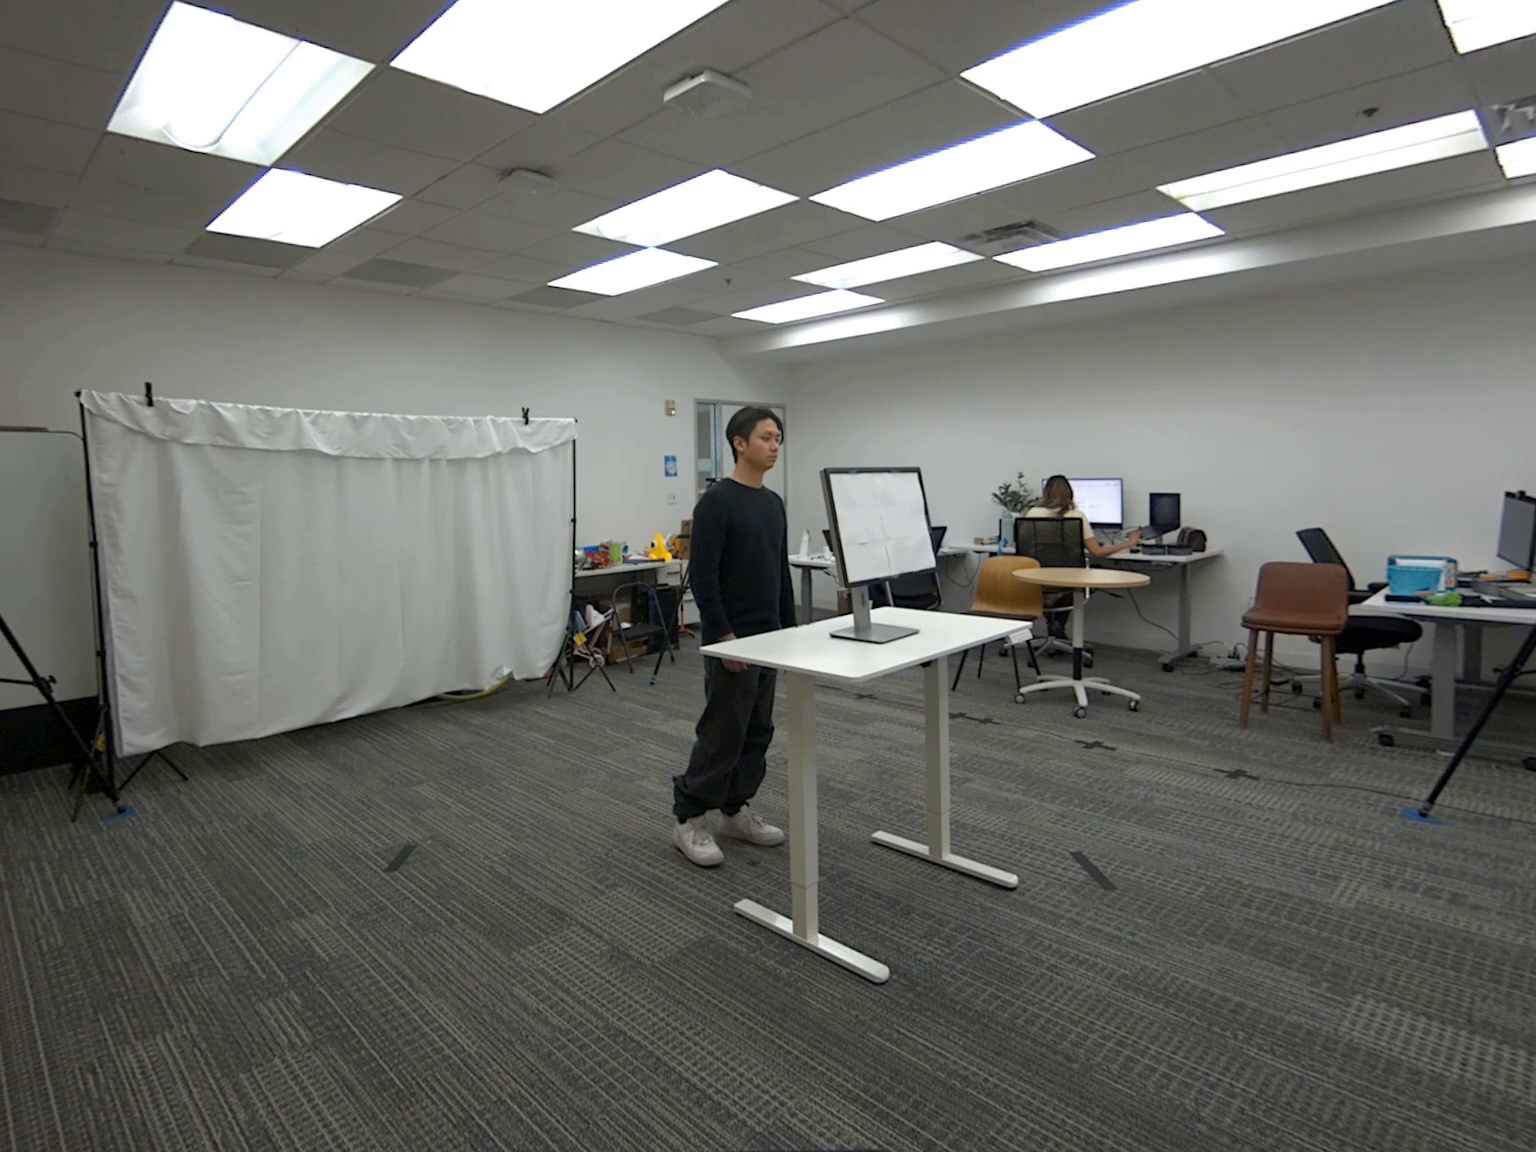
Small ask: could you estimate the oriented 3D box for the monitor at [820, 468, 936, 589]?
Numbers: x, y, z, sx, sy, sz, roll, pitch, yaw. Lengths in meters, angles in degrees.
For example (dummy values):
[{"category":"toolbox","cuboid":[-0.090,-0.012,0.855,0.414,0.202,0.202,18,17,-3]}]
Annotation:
[{"category":"monitor","cuboid":[0.348,-0.076,2.750,0.180,0.513,0.516,10,9,38]}]
